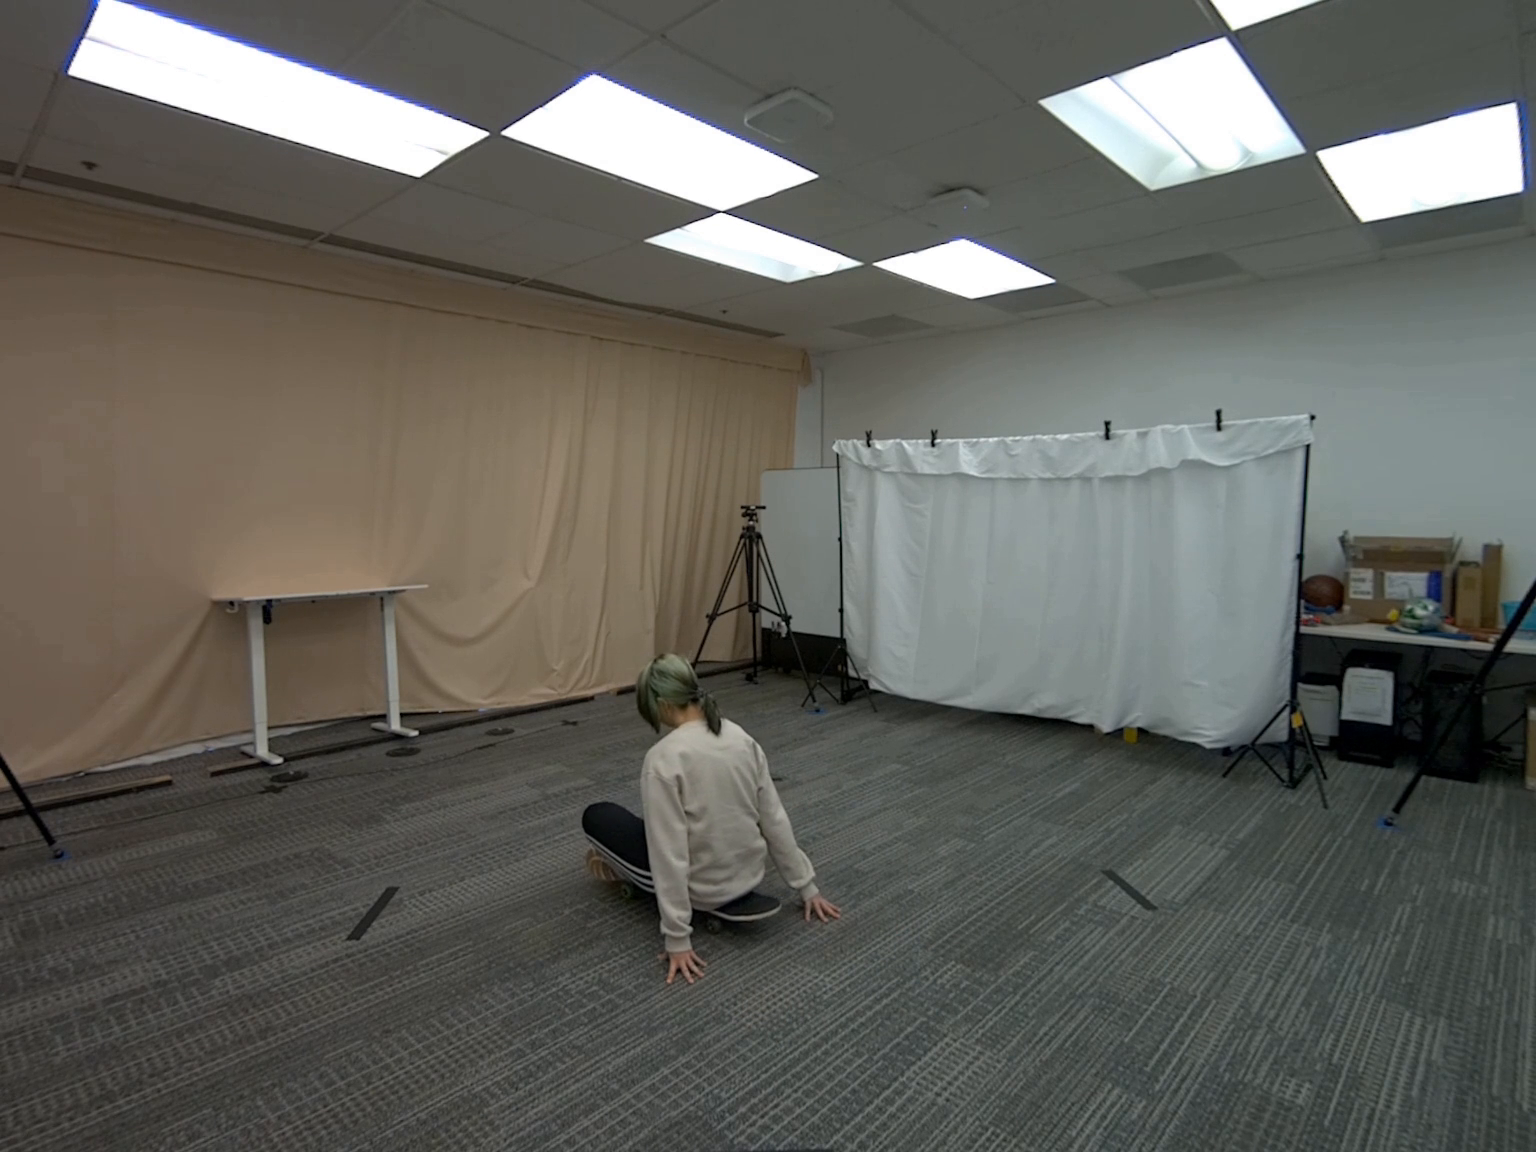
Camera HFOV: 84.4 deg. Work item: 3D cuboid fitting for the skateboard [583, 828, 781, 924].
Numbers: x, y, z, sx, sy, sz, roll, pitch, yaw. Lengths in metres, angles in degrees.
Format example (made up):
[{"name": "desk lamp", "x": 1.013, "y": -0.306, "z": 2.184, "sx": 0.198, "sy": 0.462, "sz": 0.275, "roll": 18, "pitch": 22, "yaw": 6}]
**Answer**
[{"name": "skateboard", "x": -0.293, "y": 1.097, "z": 2.946, "sx": 0.811, "sy": 0.110, "sz": 0.188, "roll": 5, "pitch": 10, "yaw": 38}]
